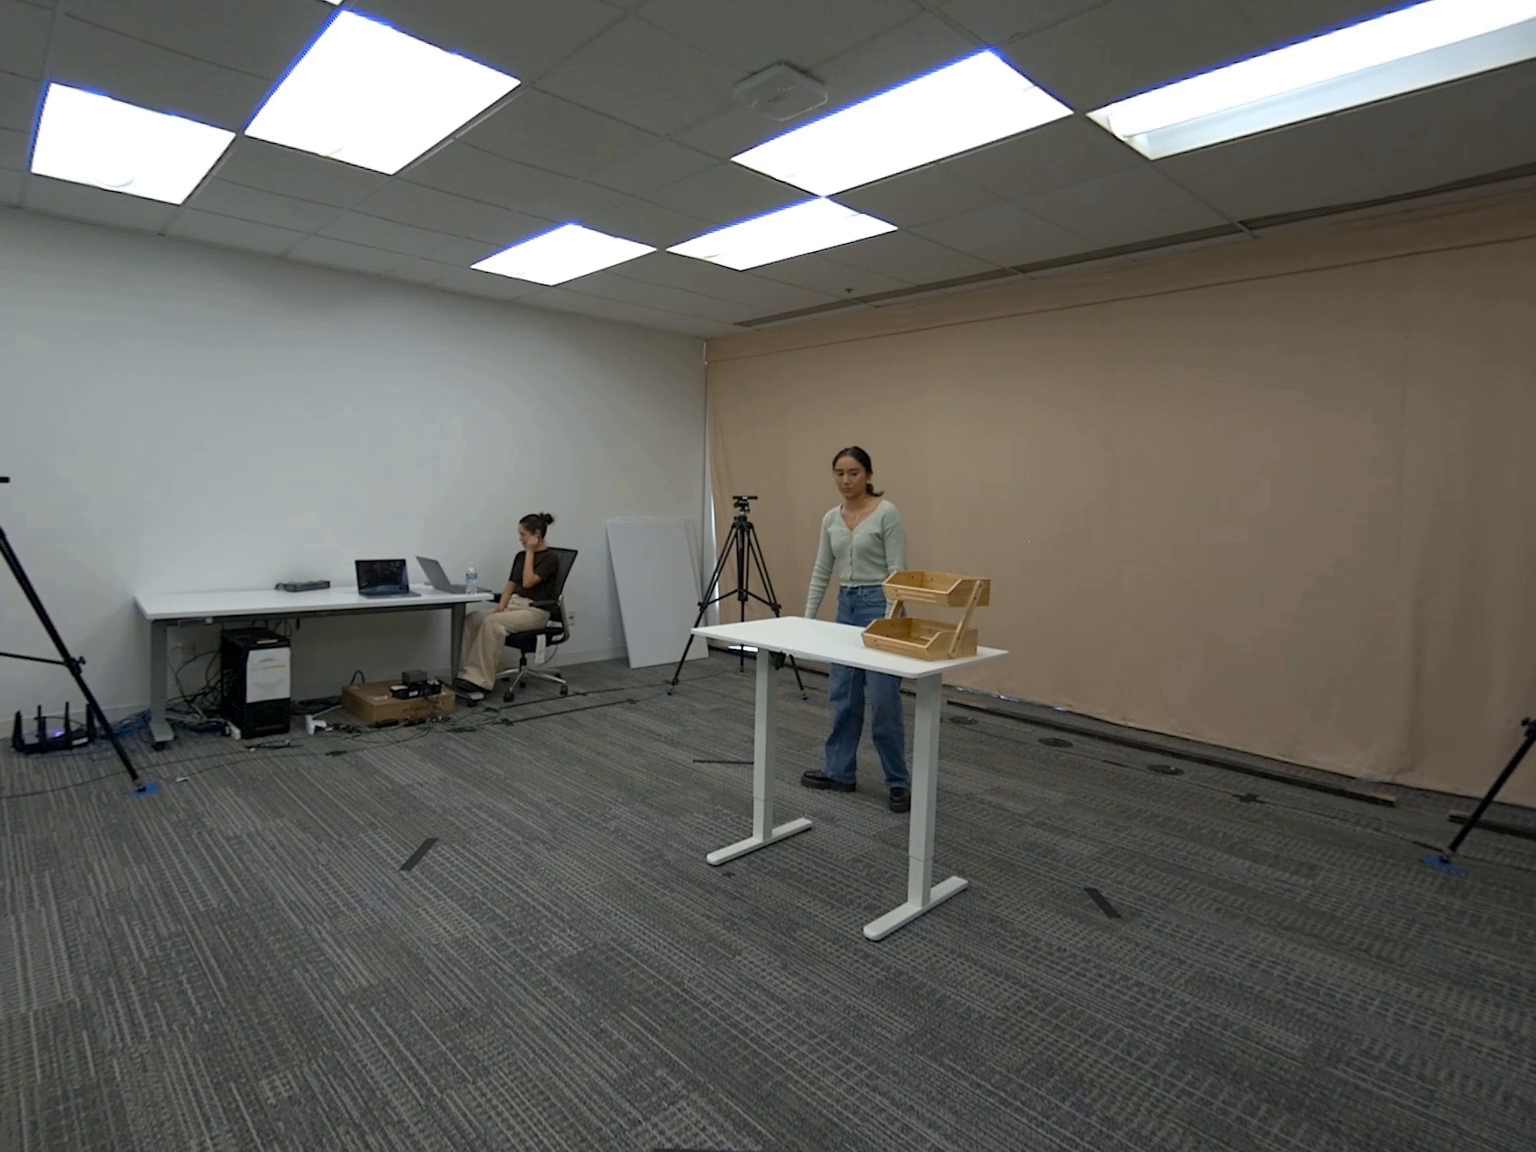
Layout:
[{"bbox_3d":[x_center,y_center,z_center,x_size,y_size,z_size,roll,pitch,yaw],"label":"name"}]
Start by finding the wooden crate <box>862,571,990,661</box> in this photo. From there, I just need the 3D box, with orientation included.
[{"bbox_3d":[0.529,0.125,2.894,0.295,0.272,0.332,-1,5,-36],"label":"wooden crate"}]
